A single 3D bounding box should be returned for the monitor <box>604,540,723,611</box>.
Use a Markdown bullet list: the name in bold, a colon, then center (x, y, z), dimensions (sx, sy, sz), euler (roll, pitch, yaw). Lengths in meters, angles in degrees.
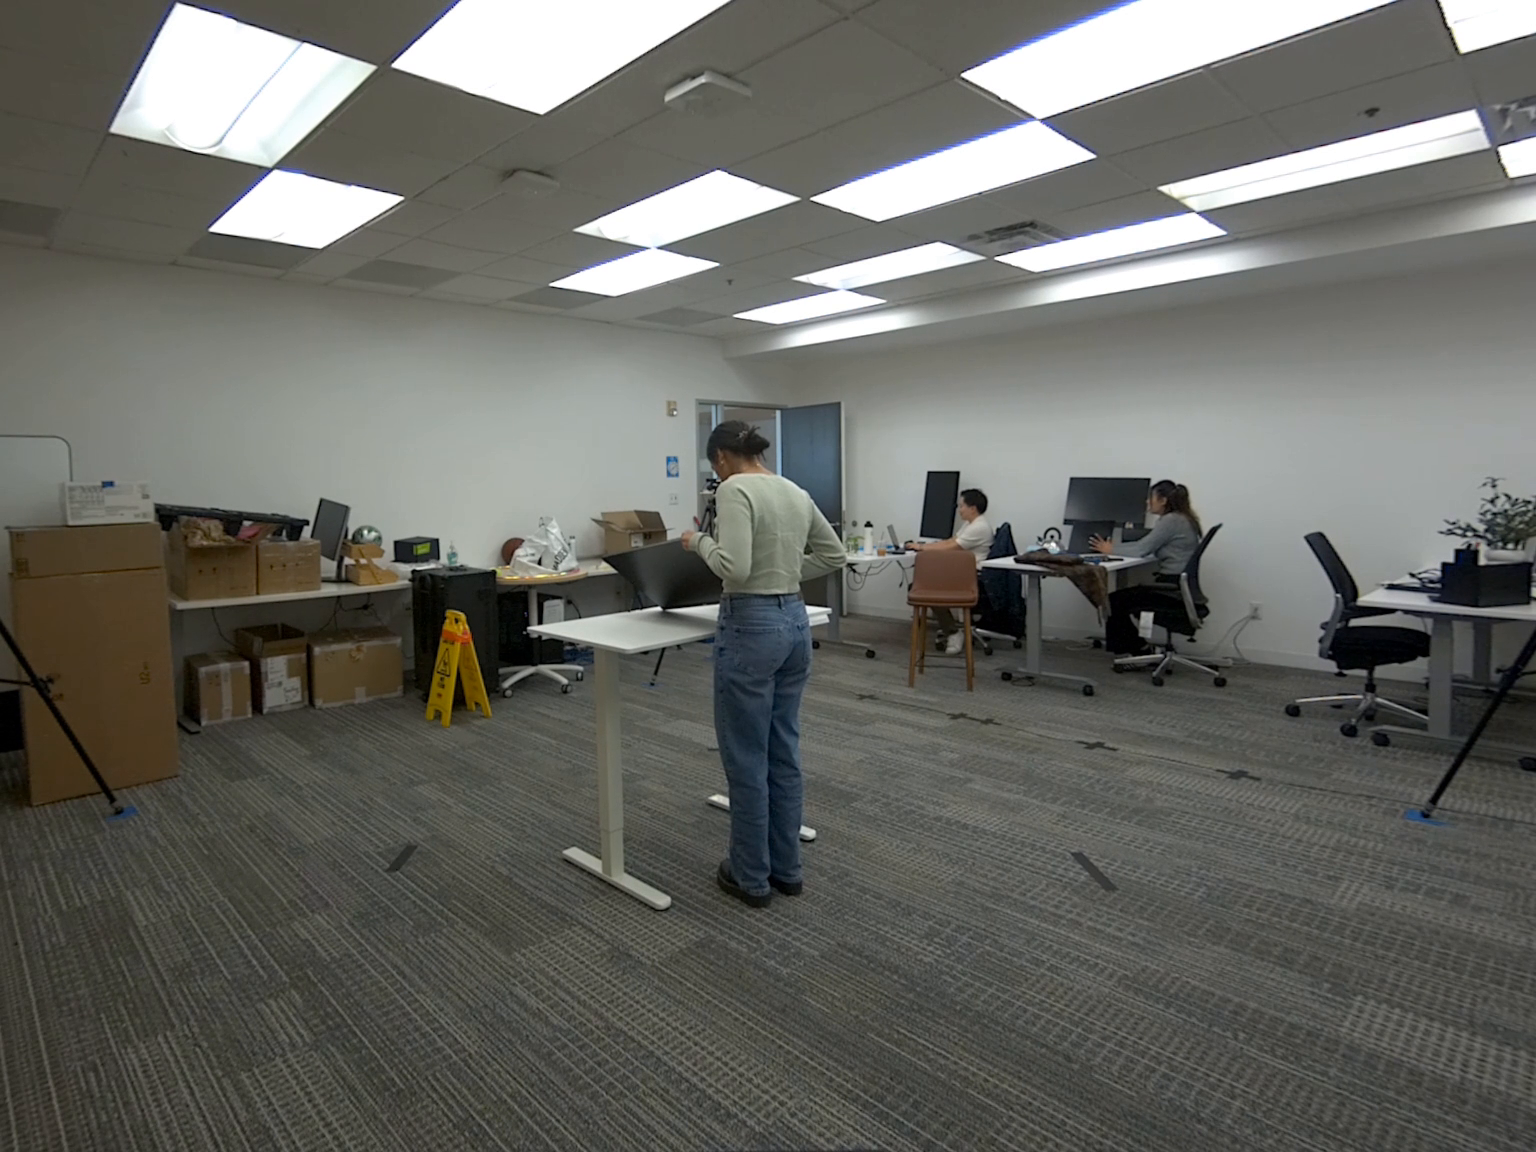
- **monitor**: center (-0.268, -0.013, 3.233), dimensions (0.551, 0.190, 0.504), euler (-11, -23, 44)
